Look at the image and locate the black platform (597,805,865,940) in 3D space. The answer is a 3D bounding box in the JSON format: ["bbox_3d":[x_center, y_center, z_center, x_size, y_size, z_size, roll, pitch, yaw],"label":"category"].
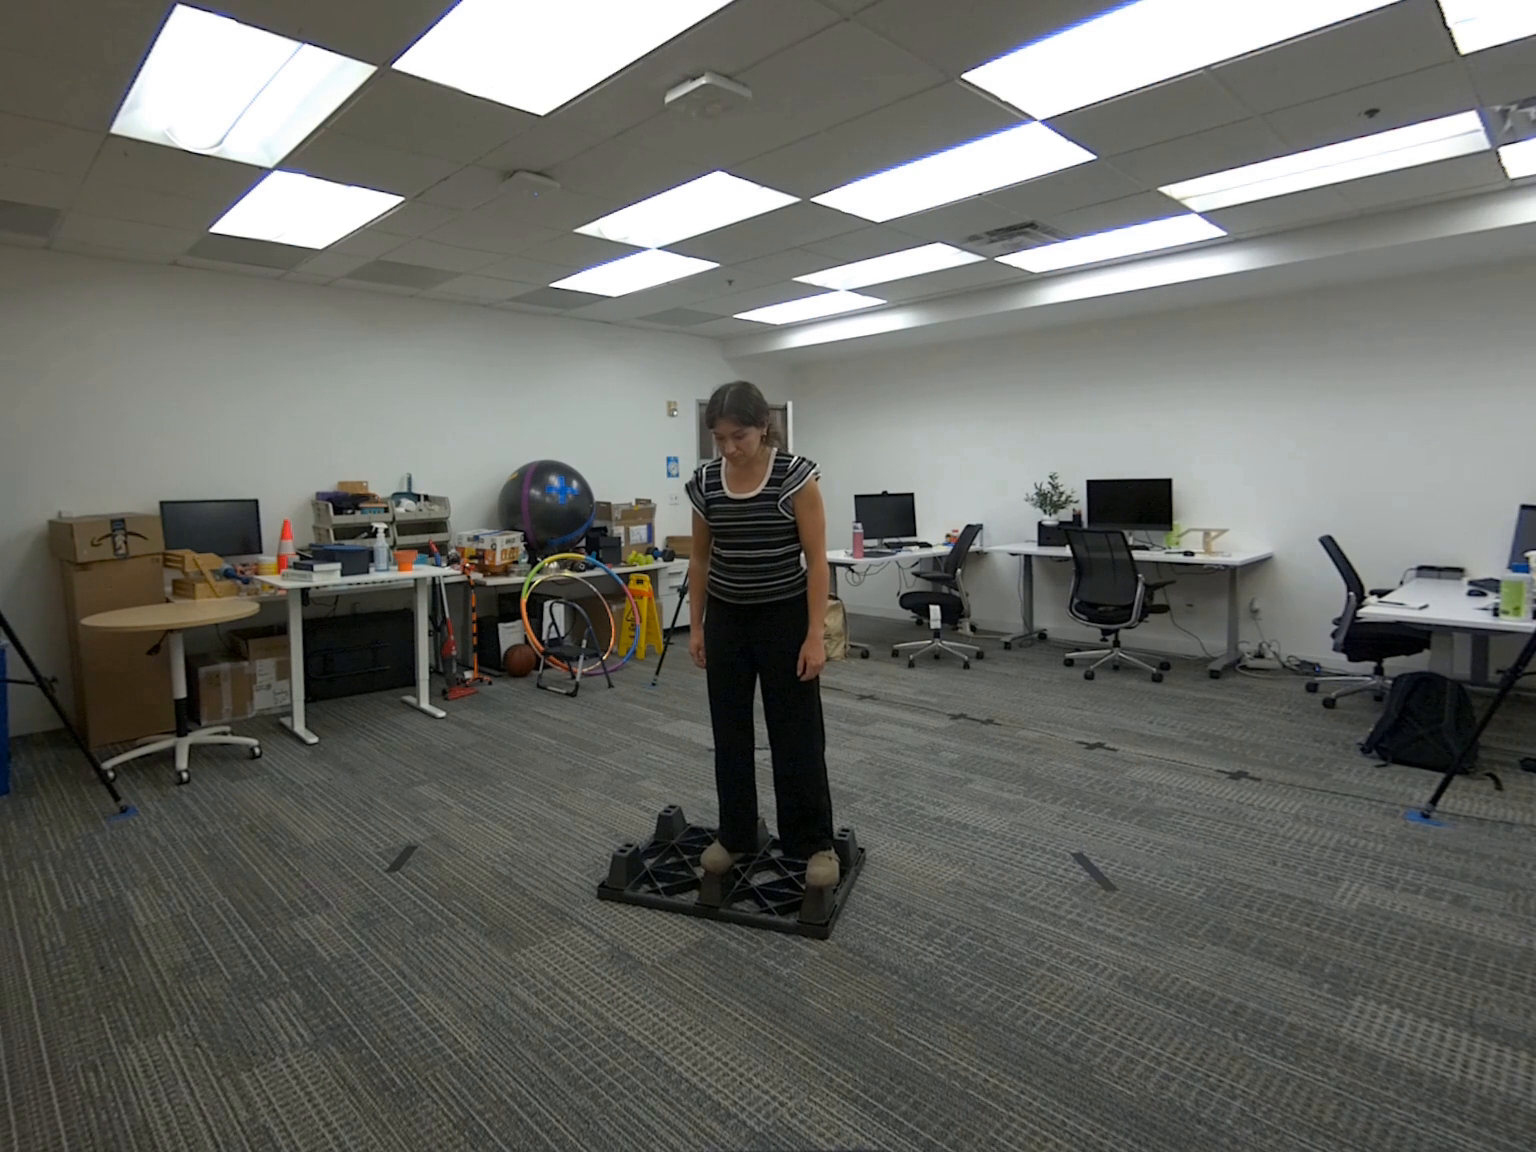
[{"bbox_3d":[-0.103,0.994,2.996,0.821,0.142,0.597,2,8,19],"label":"black platform"}]
